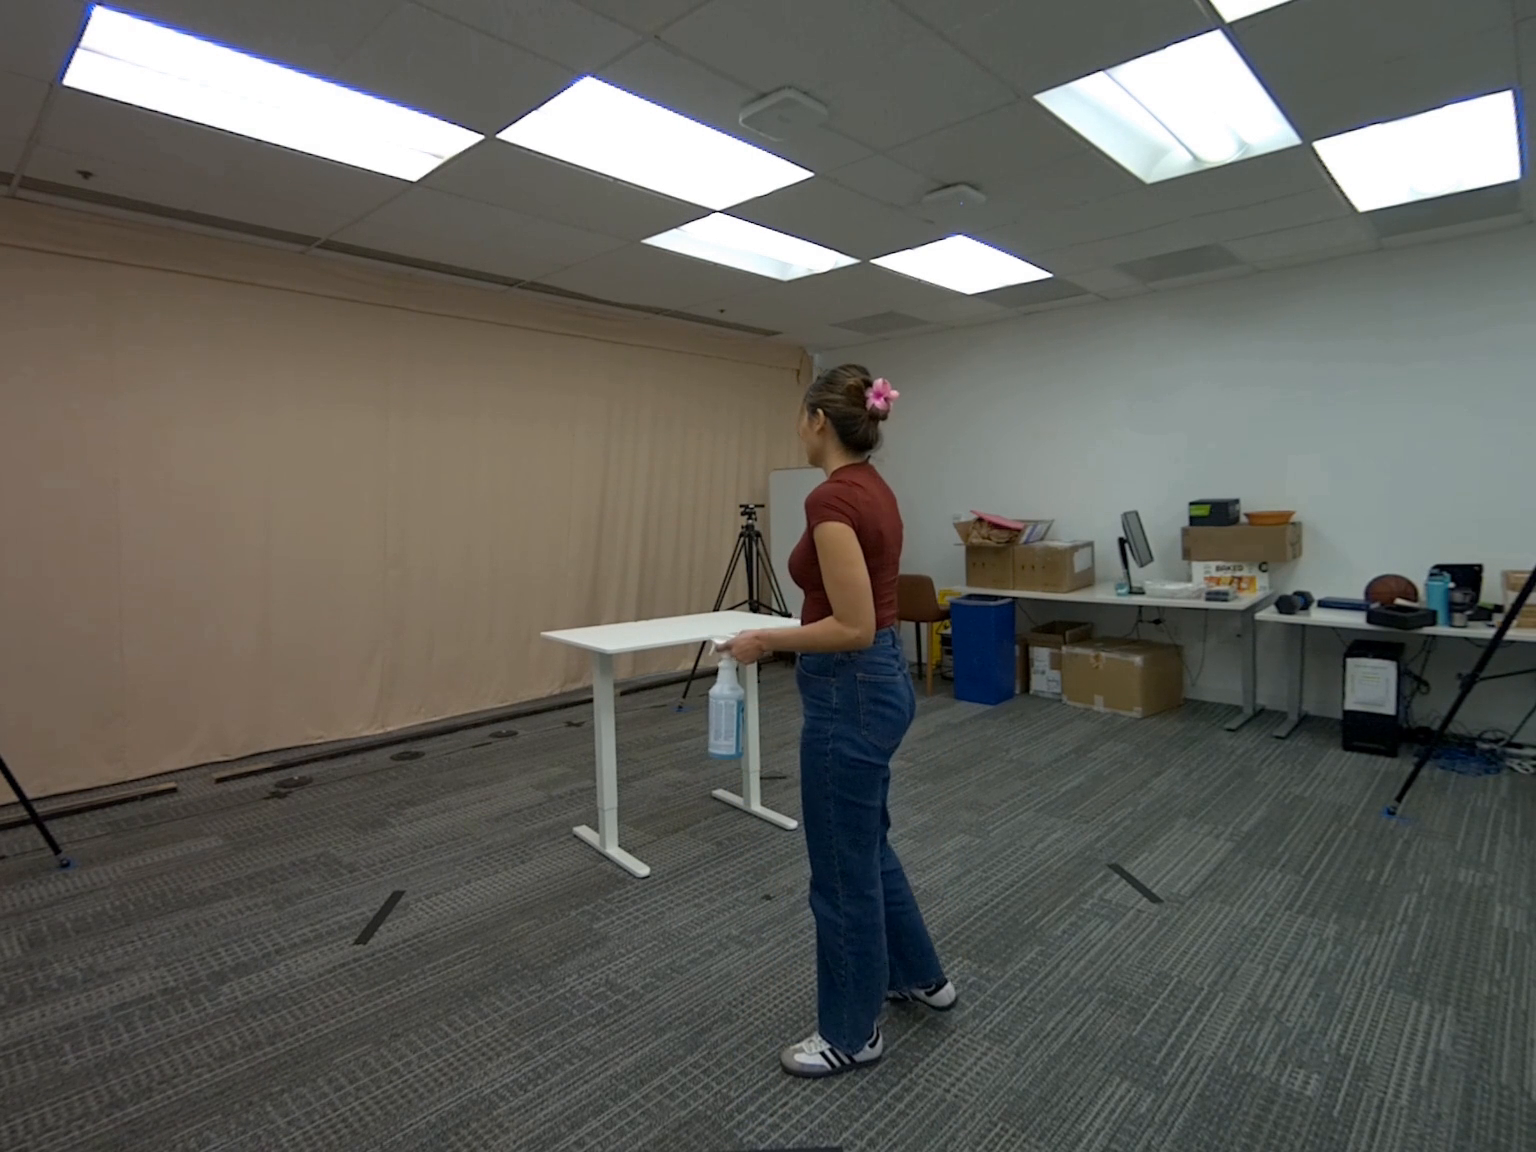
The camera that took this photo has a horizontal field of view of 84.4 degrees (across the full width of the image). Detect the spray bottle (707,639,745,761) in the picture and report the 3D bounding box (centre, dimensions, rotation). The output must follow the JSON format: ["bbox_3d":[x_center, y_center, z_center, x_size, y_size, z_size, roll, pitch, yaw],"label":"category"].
[{"bbox_3d":[-0.087,0.292,2.057,0.093,0.298,0.084,-2,-3,43],"label":"spray bottle"}]
